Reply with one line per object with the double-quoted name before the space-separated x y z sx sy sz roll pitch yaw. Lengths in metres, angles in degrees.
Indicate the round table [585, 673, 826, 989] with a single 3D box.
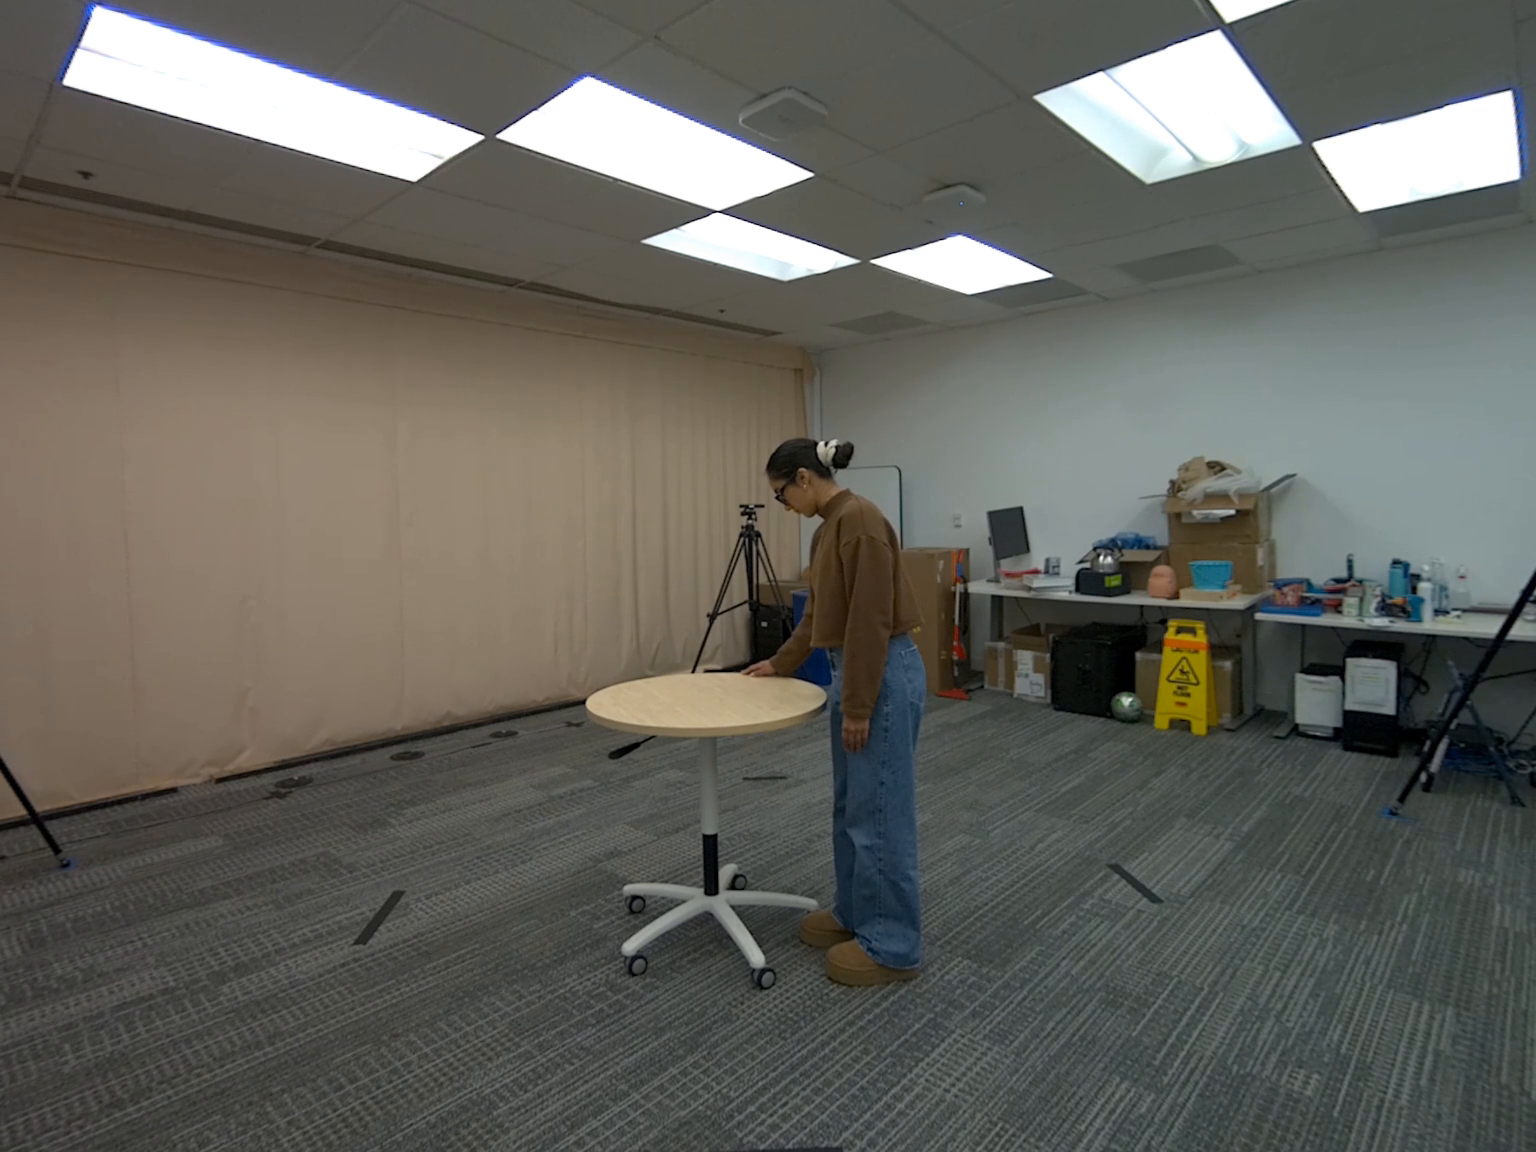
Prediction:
"round table" -0.191 0.783 2.707 0.763 0.792 0.767 -2 4 -2
